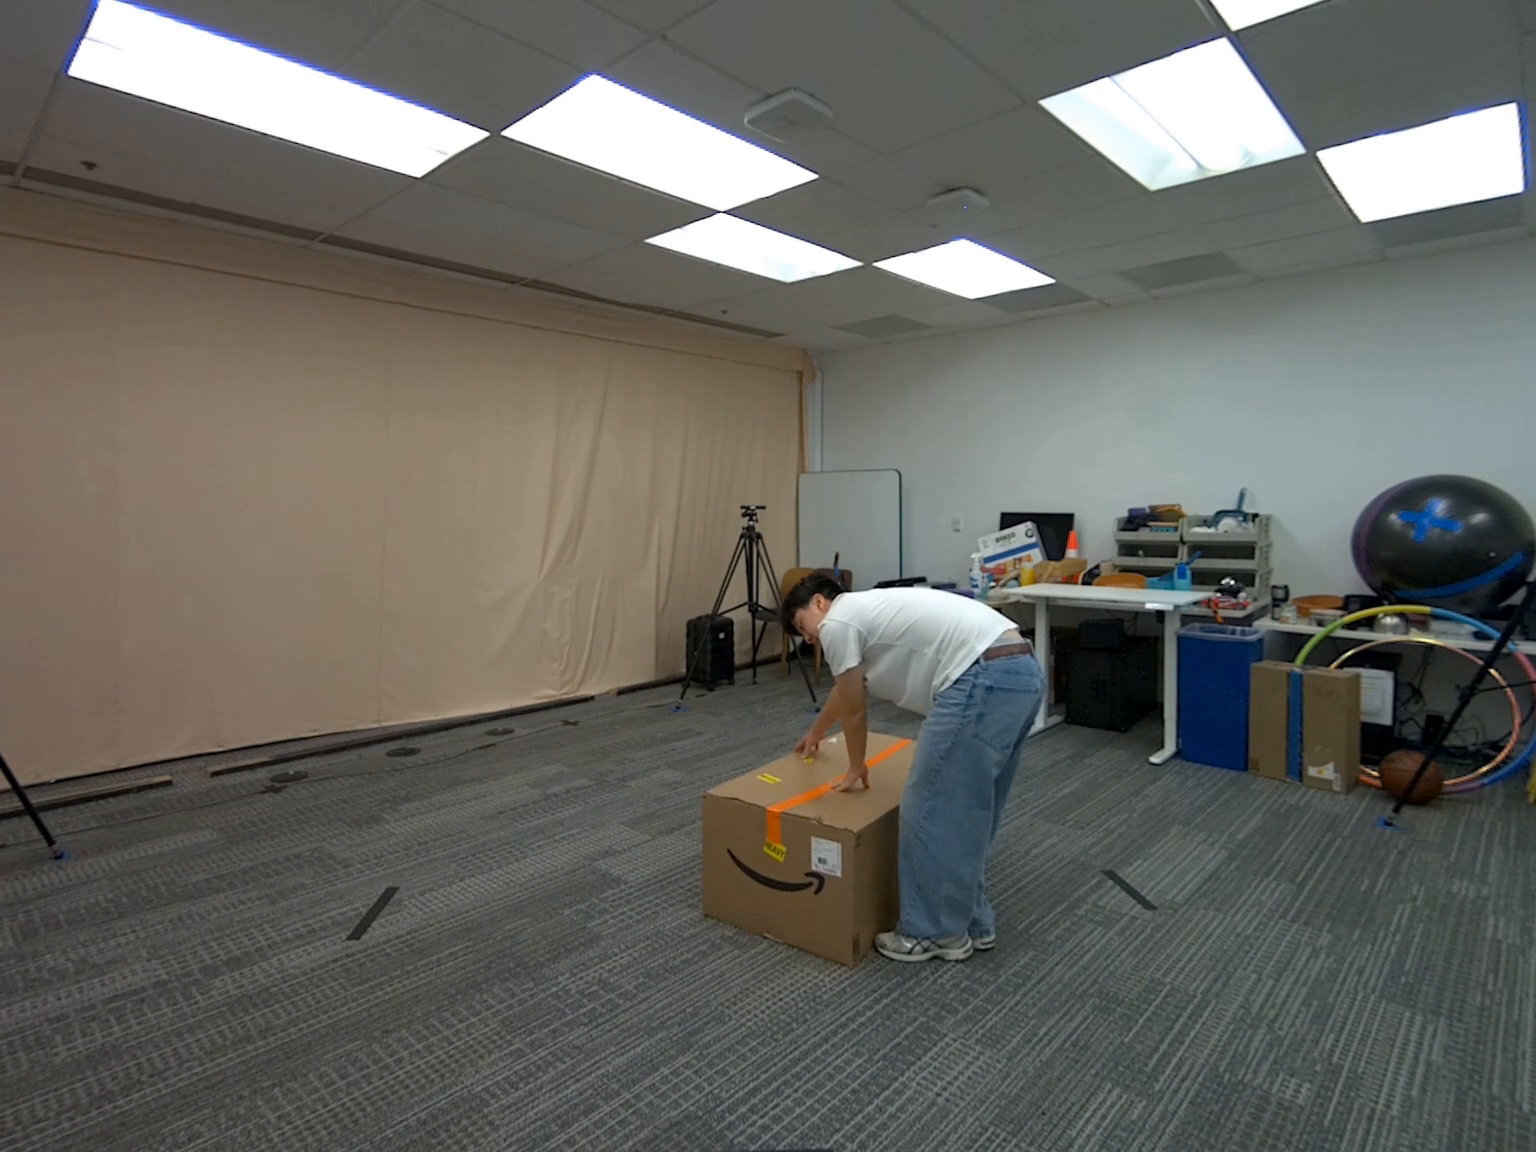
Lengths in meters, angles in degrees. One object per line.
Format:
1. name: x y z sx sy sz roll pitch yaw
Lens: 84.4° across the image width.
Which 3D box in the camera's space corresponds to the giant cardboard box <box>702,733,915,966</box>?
1. giant cardboard box: 0.300 0.922 3.089 0.596 0.425 0.996 3 5 35
